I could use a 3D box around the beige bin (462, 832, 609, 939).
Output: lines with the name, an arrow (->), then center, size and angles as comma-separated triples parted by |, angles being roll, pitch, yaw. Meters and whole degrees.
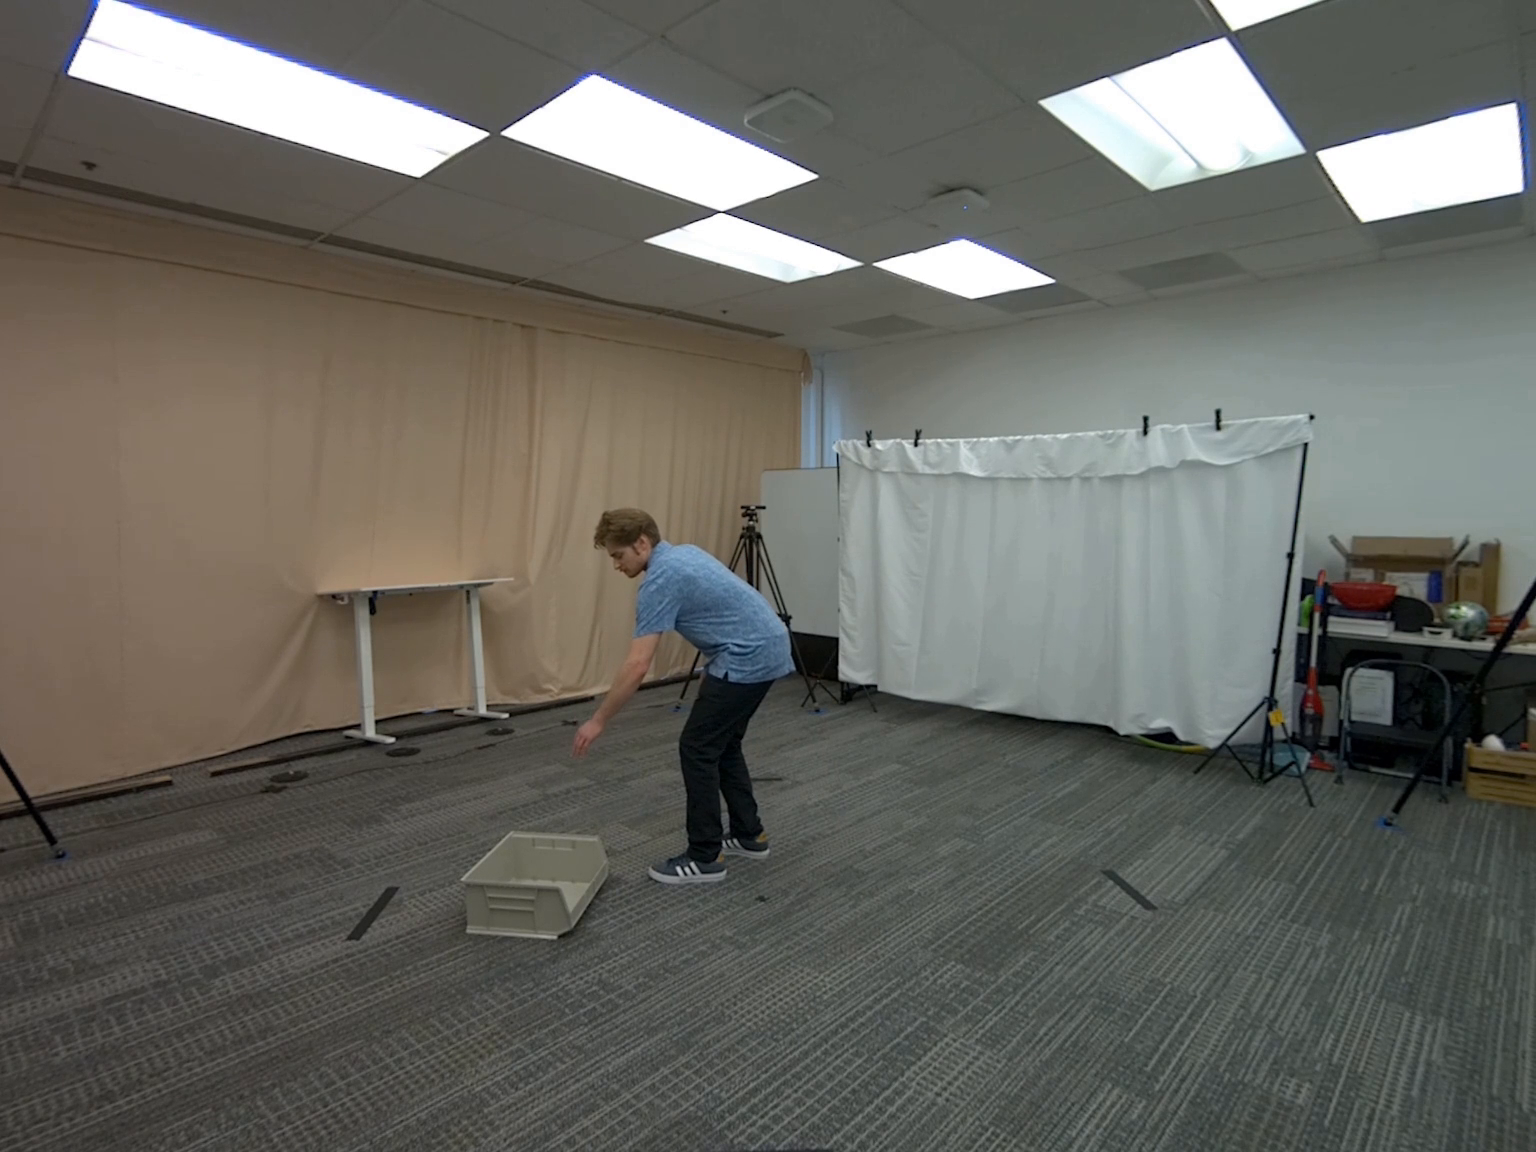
beige bin -> -0.800, 1.068, 2.927 | 0.381, 0.188, 0.420 | 0, 5, 7
